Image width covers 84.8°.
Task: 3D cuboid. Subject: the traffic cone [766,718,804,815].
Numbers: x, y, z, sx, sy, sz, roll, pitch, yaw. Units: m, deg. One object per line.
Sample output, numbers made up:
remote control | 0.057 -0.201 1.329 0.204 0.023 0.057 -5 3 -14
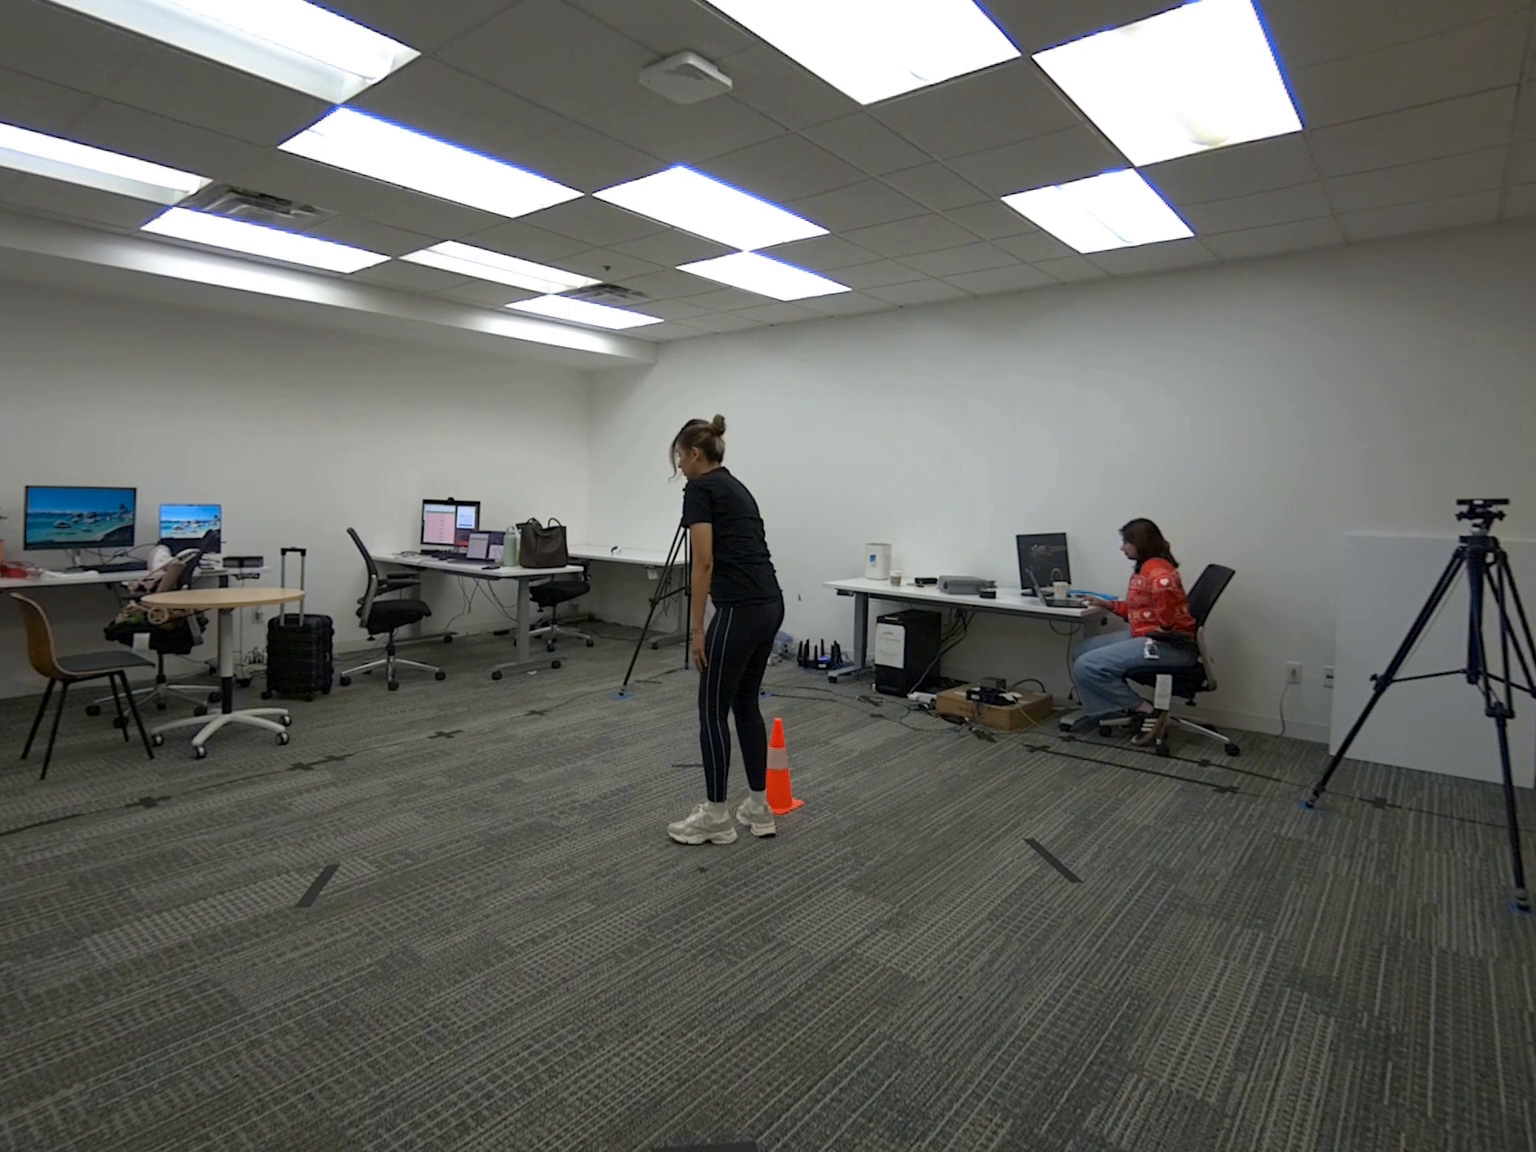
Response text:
traffic cone | 0.029 0.821 3.780 0.212 0.382 0.197 6 7 41
